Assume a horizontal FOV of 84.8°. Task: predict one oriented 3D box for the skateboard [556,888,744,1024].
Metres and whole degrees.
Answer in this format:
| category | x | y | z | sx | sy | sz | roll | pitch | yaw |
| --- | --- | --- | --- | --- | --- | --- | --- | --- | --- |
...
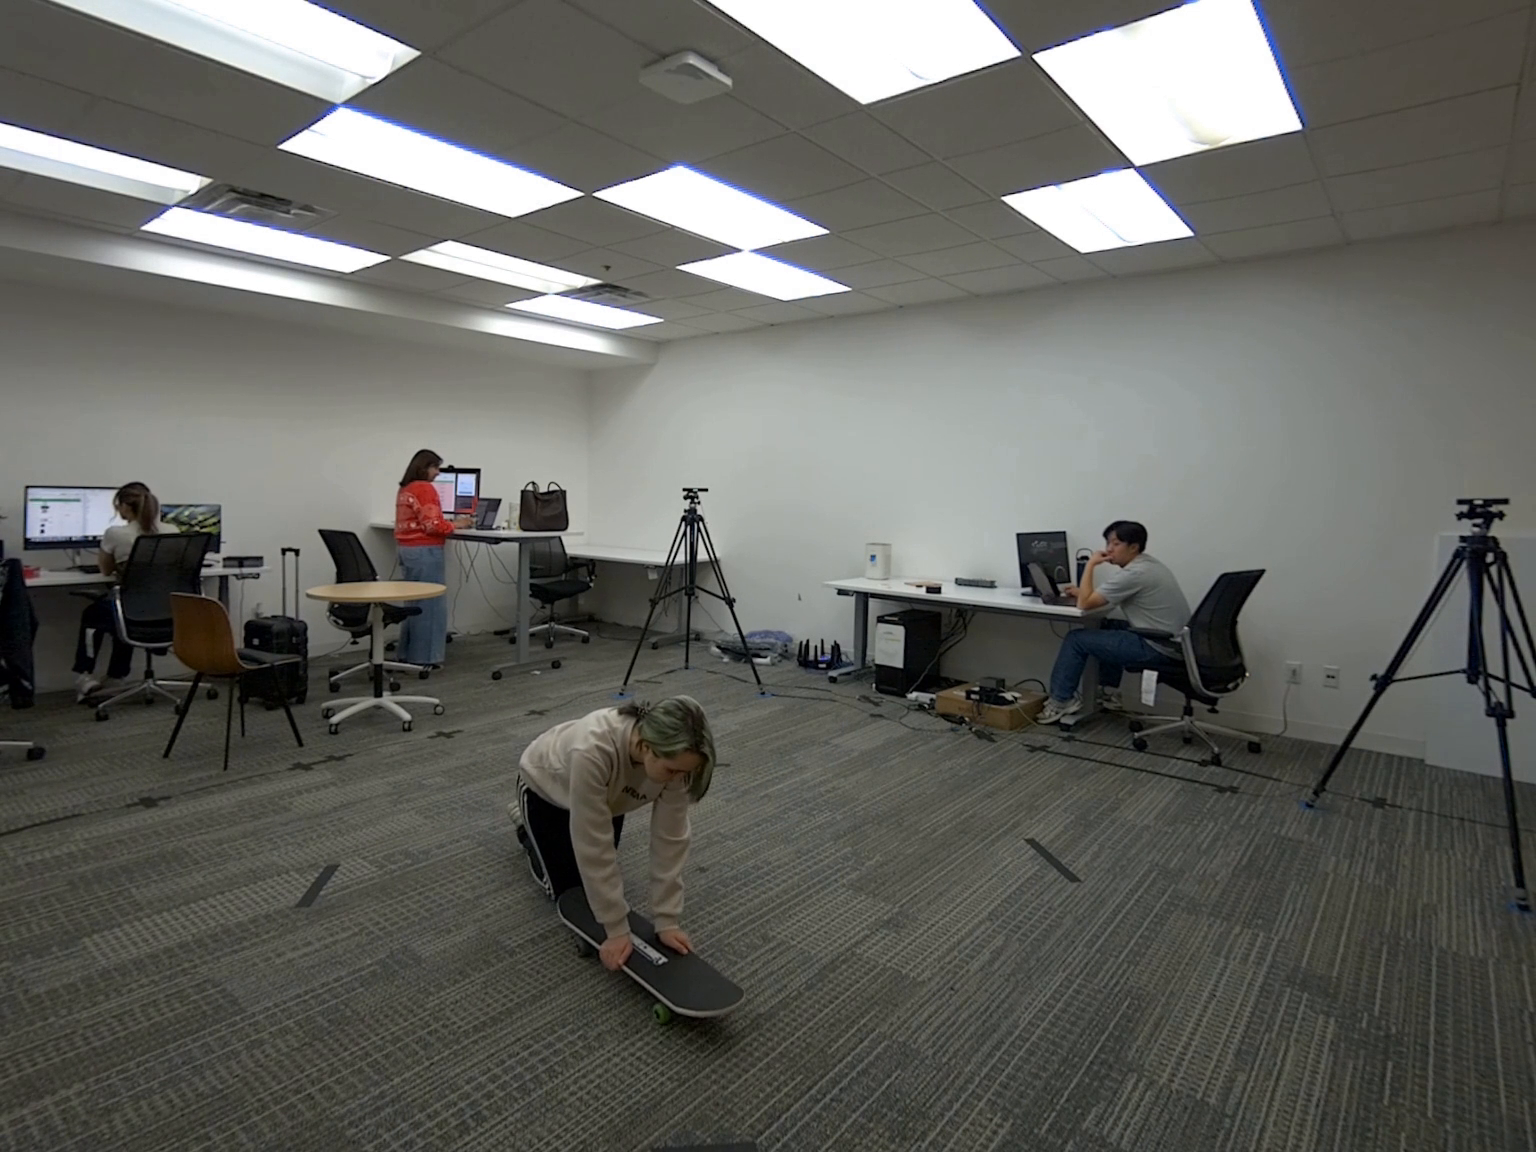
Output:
| category | x | y | z | sx | sy | sz | roll | pitch | yaw |
| --- | --- | --- | --- | --- | --- | --- | --- | --- | --- |
| skateboard | -0.366 | 1.079 | 2.412 | 0.188 | 0.110 | 0.812 | -3 | 7 | -41 |
